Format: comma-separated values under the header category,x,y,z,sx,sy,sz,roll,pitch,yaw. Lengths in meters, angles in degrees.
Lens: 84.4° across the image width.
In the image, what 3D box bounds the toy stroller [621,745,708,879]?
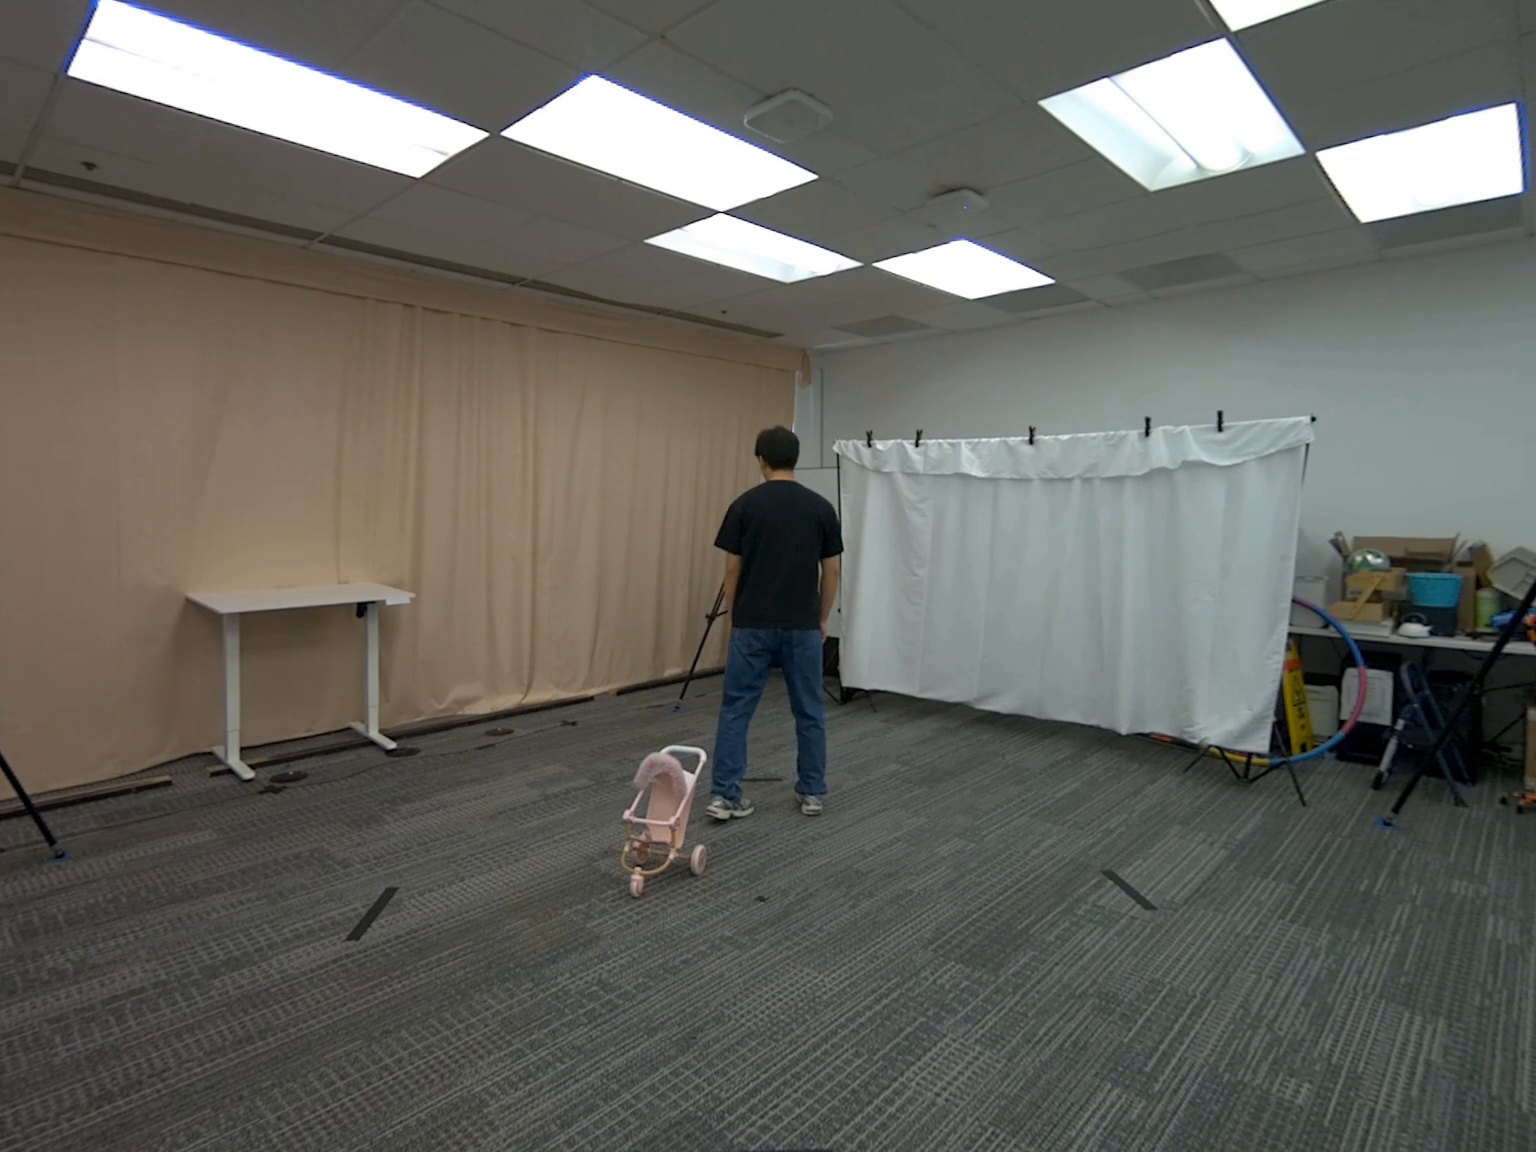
category,x,y,z,sx,sy,sz,roll,pitch,yaw
toy stroller,-0.406,0.908,3.167,0.289,0.538,0.330,0,-13,26
